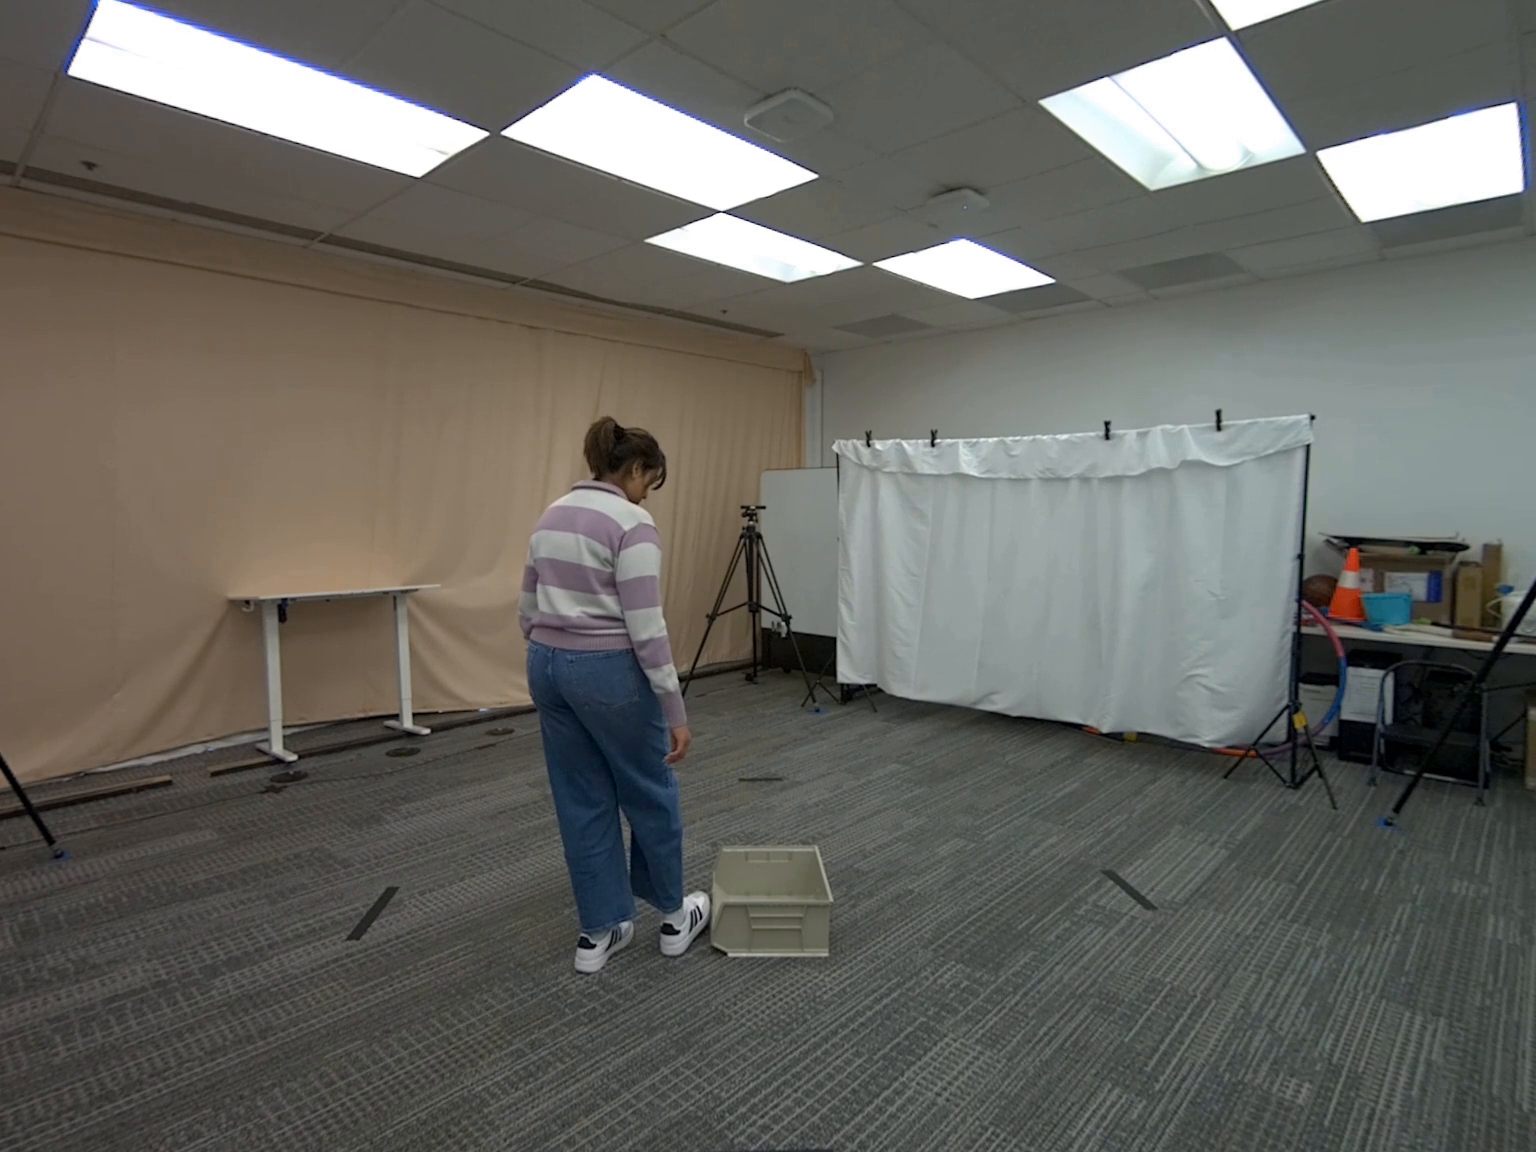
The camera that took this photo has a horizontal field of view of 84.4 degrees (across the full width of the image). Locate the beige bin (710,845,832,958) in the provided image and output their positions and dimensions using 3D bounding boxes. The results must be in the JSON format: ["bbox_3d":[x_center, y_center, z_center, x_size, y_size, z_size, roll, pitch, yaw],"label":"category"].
[{"bbox_3d":[0.006,1.070,2.794,0.377,0.188,0.424,0,4,-2],"label":"beige bin"}]
